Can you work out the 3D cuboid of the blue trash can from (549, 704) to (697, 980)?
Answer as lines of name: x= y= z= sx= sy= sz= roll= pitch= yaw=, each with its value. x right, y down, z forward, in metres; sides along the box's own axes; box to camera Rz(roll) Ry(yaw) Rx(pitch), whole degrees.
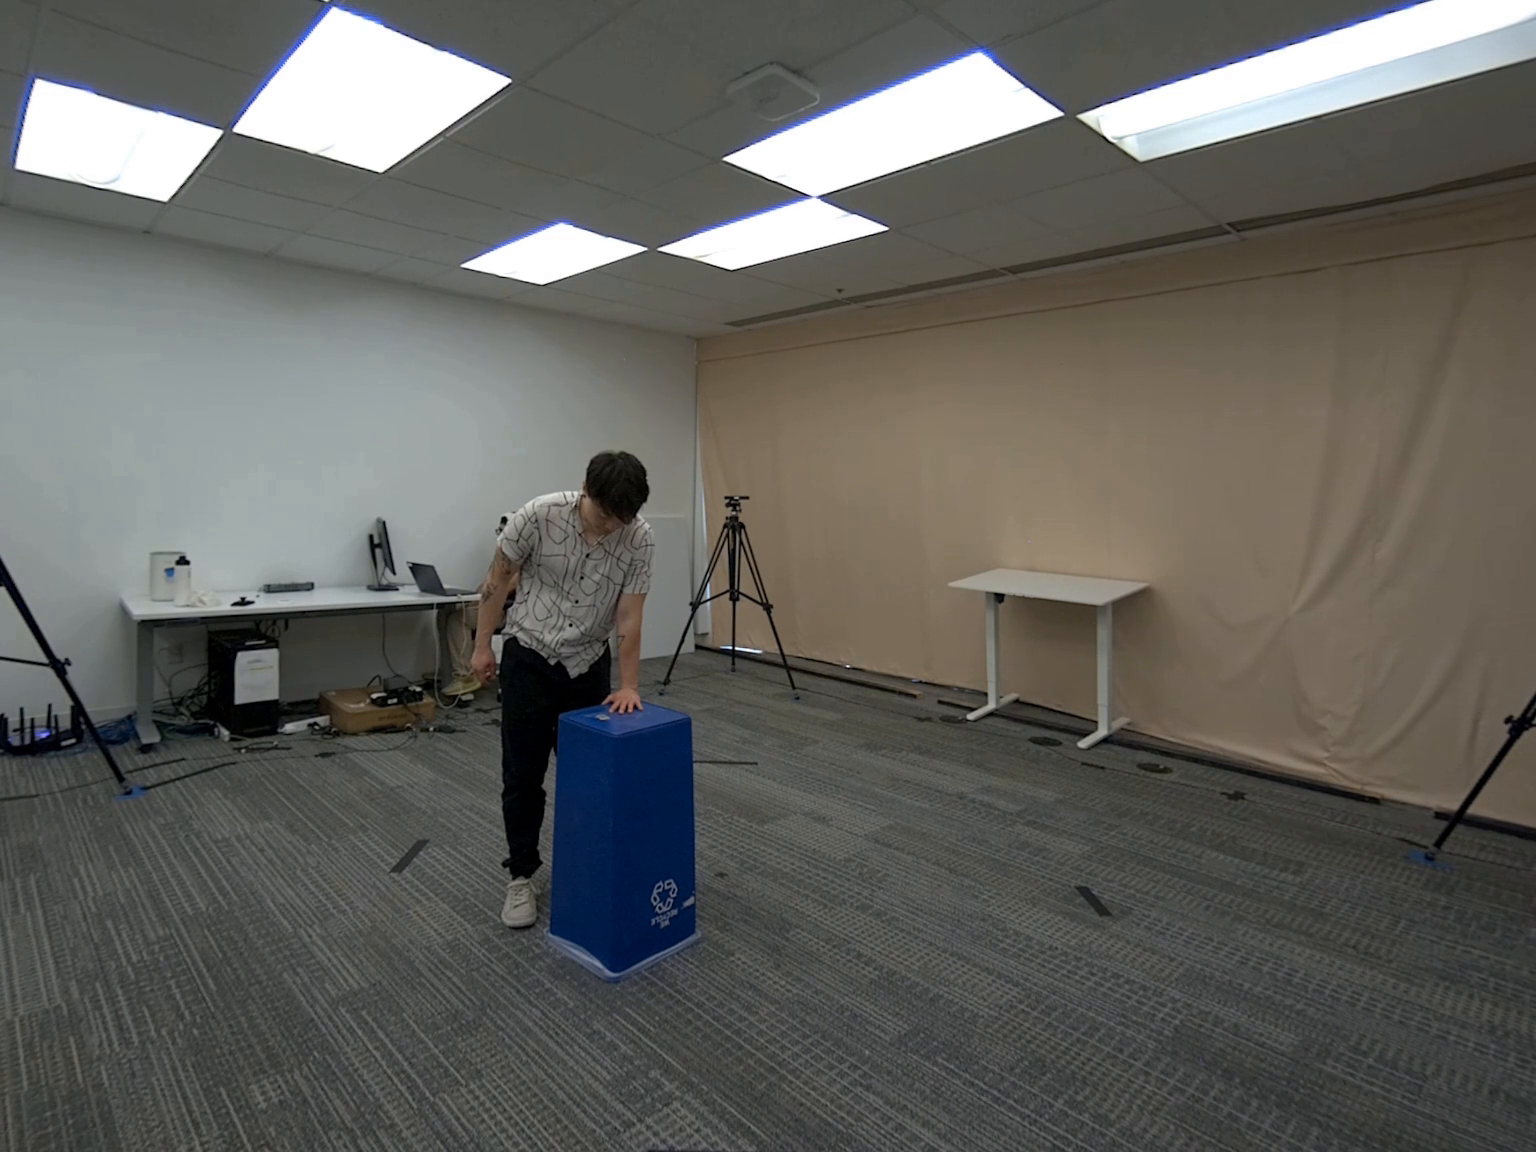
blue trash can: x=-0.465 y=0.788 z=2.619 sx=0.387 sy=0.712 sz=0.366 roll=4 pitch=5 yaw=44
